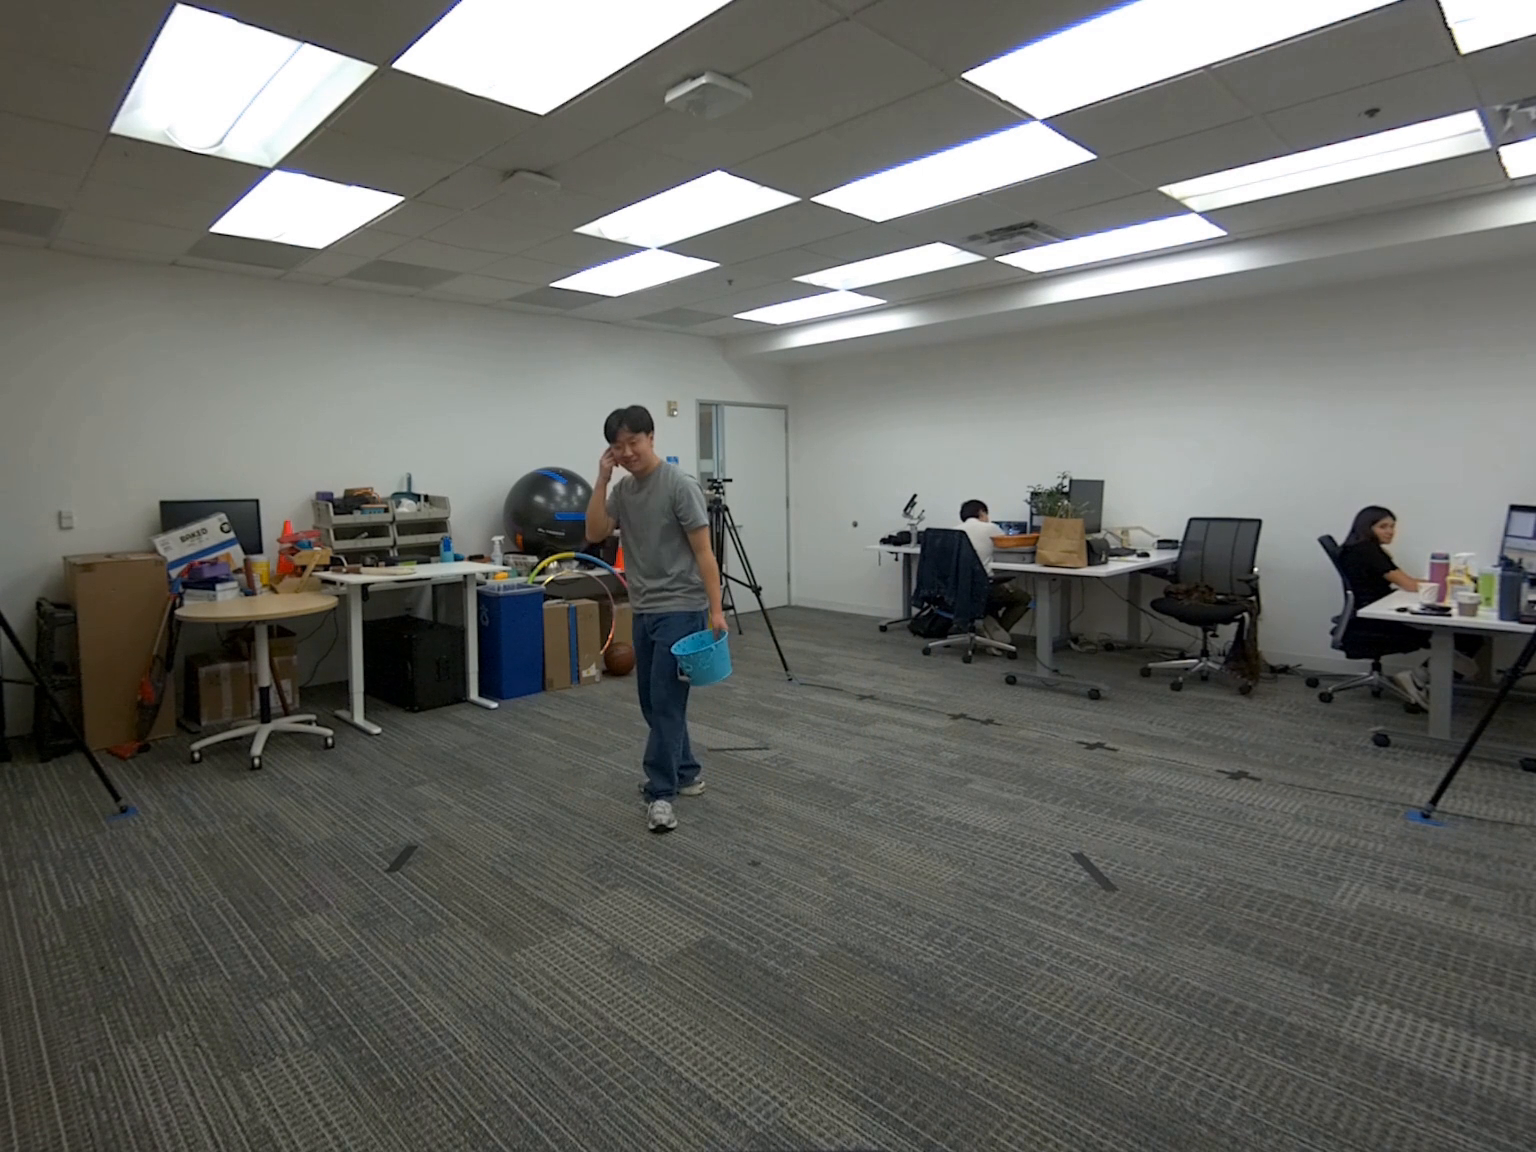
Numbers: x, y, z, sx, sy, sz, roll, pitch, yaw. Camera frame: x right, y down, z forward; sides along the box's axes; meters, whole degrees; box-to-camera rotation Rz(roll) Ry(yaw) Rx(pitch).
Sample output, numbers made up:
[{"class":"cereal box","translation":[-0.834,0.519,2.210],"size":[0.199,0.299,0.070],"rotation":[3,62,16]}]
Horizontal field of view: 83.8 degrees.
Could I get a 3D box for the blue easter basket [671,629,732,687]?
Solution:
[{"class":"blue easter basket","translation":[-0.277,0.334,3.375],"size":[0.244,0.154,0.247],"rotation":[-15,14,2]}]
